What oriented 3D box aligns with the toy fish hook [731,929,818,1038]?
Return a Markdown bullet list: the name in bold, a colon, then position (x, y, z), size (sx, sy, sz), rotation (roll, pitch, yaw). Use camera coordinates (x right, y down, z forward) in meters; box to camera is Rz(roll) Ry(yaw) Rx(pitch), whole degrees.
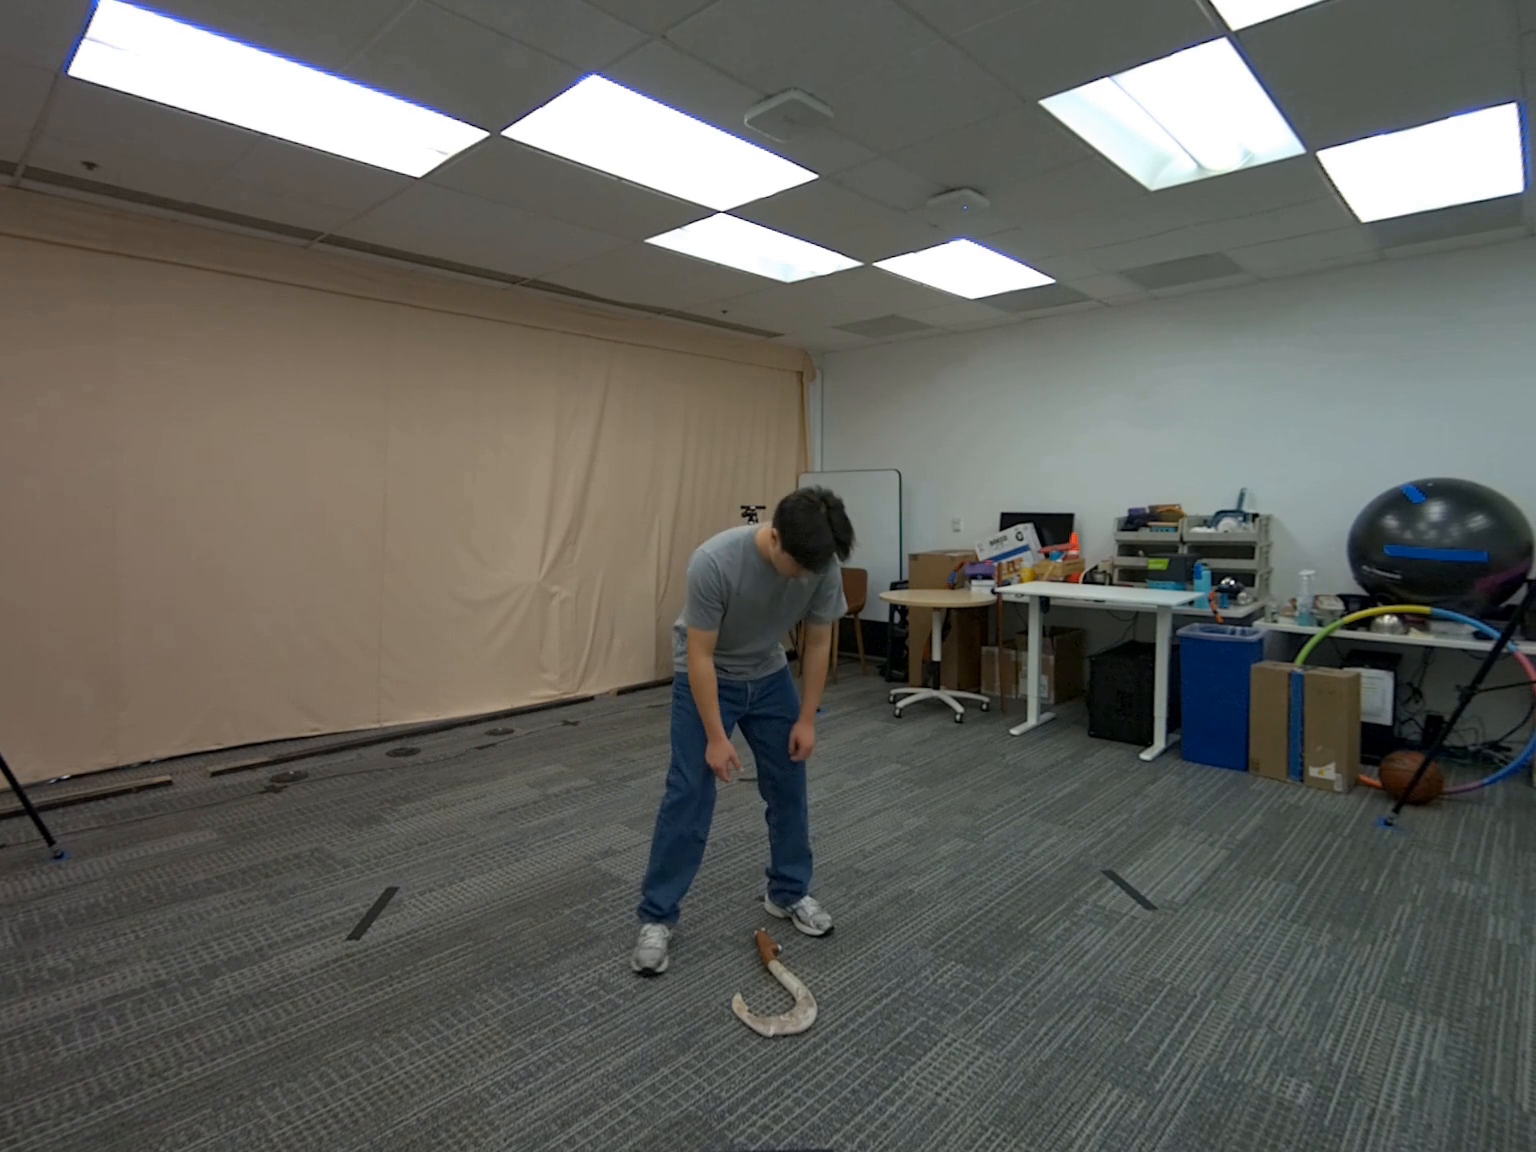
- **toy fish hook**: position (-0.012, 1.162, 2.449), size (0.222, 0.048, 0.514), rotation (0, 4, -13)
